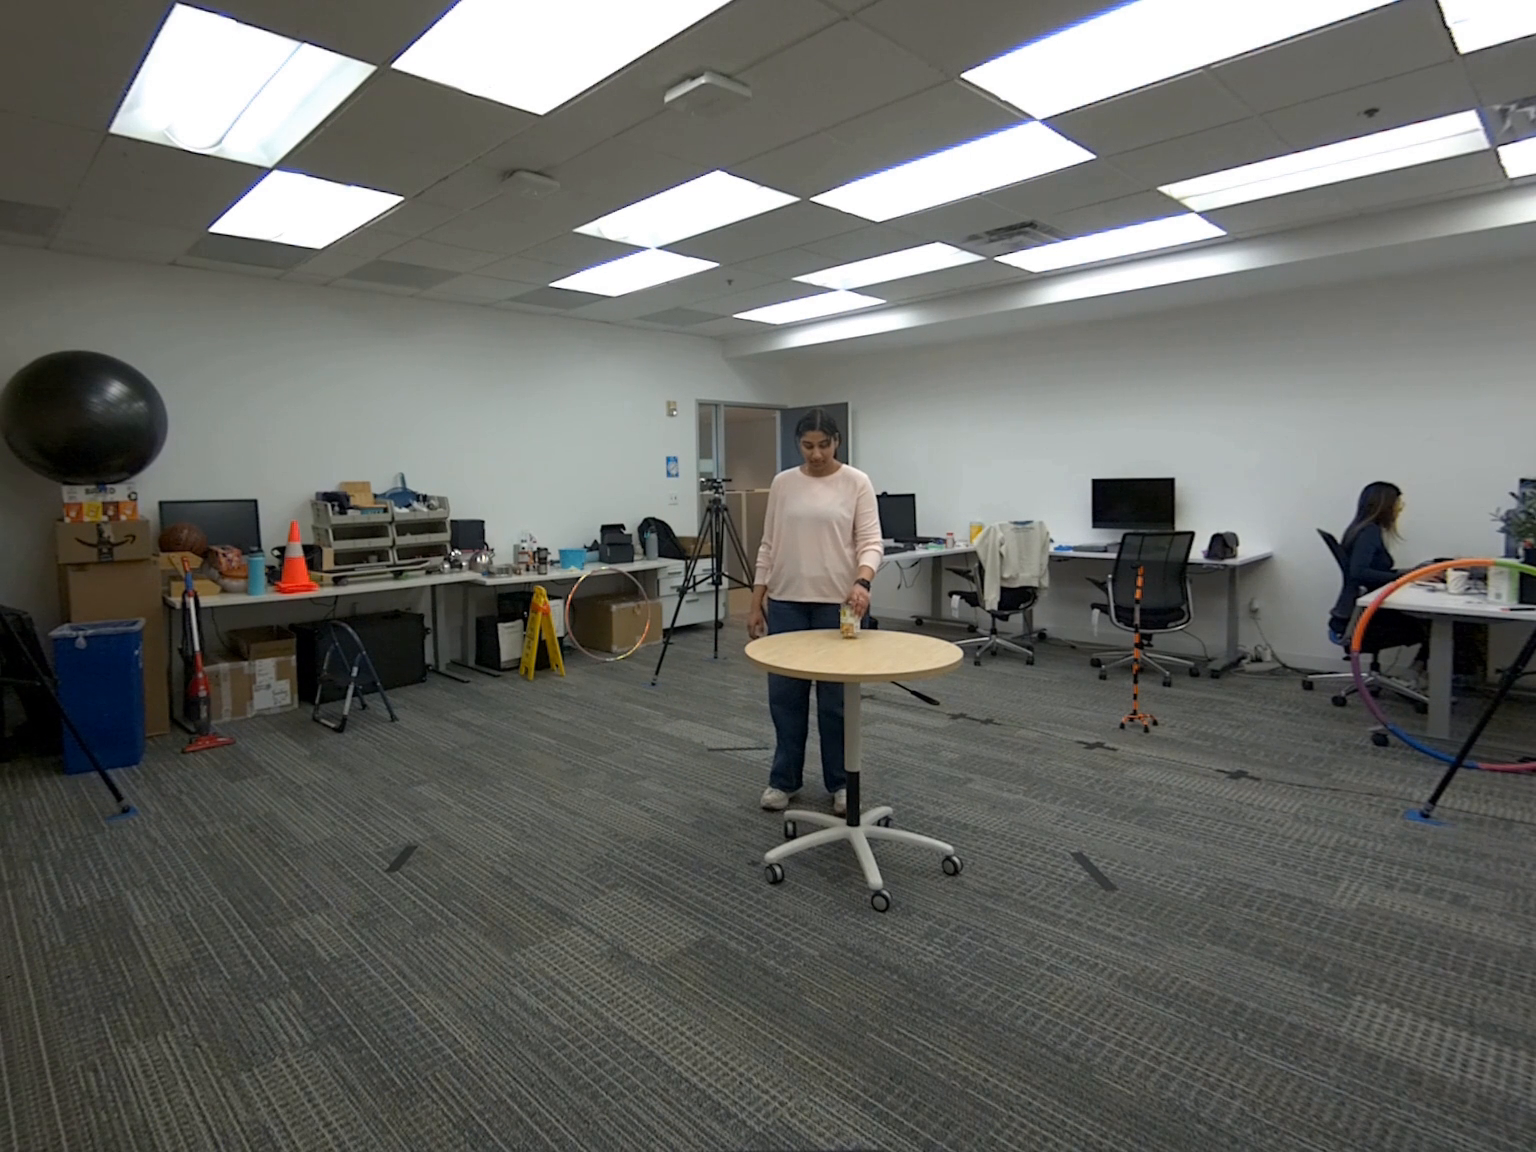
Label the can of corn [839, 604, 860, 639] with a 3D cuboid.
[{"bbox_3d":[0.311,0.162,3.254,0.074,0.111,0.074,0,1,-2],"label":"can of corn"}]
